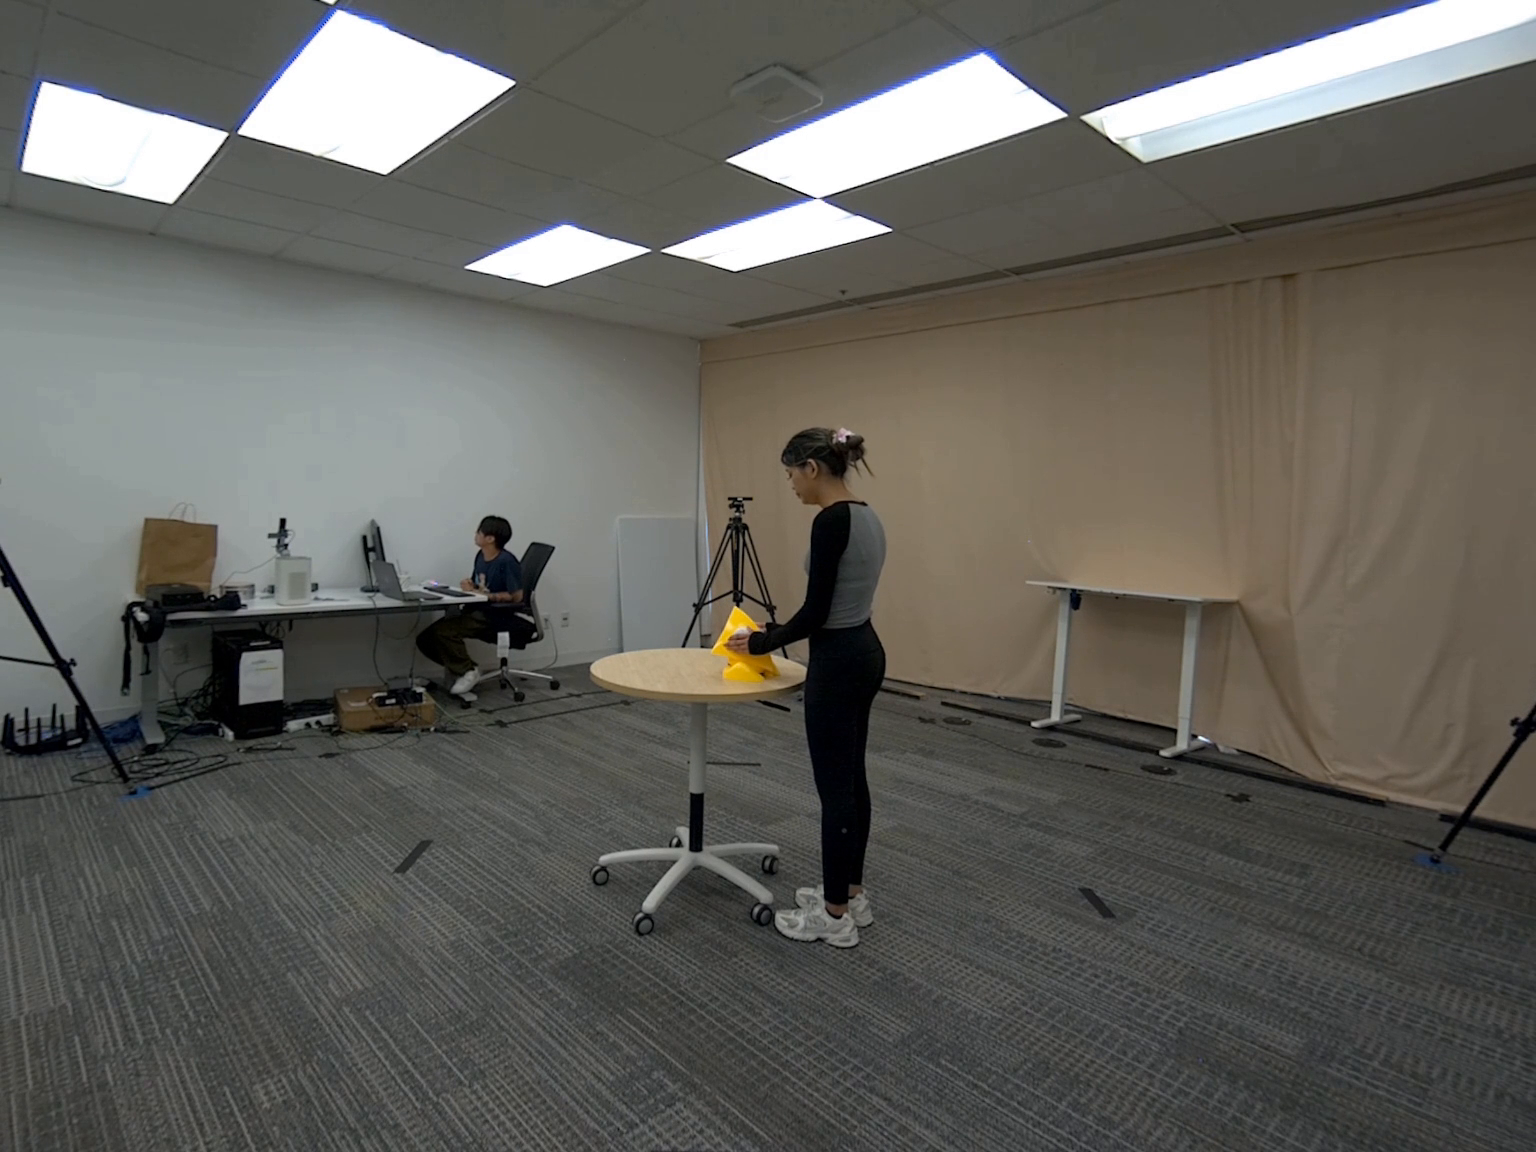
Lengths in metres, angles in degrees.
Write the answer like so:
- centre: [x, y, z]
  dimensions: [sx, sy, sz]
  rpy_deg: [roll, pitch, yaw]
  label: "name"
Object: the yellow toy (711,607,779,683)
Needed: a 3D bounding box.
- centre: [-0.067, 0.225, 2.872]
  dimensions: [0.198, 0.230, 0.200]
  rpy_deg: [7, 5, 32]
  label: "yellow toy"
